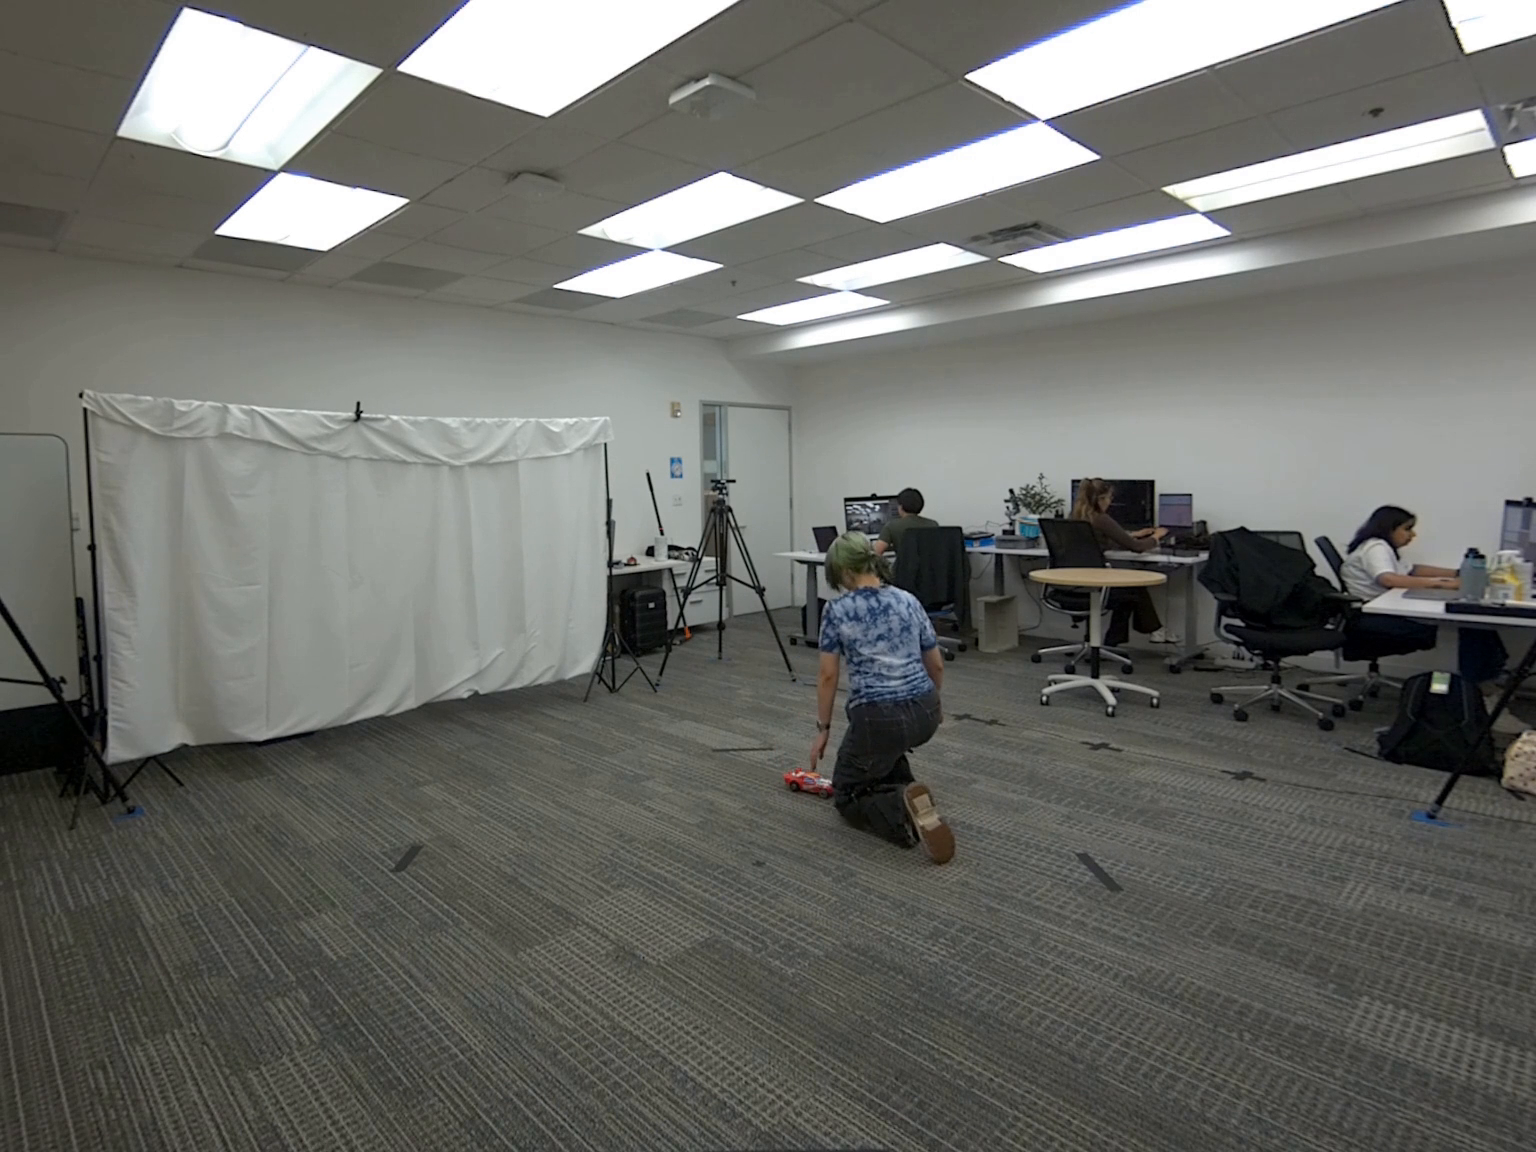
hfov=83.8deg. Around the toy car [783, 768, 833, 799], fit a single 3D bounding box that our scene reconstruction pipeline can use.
[{"bbox_3d":[0.186,0.931,3.838,0.263,0.082,0.127,16,14,32],"label":"toy car"}]
